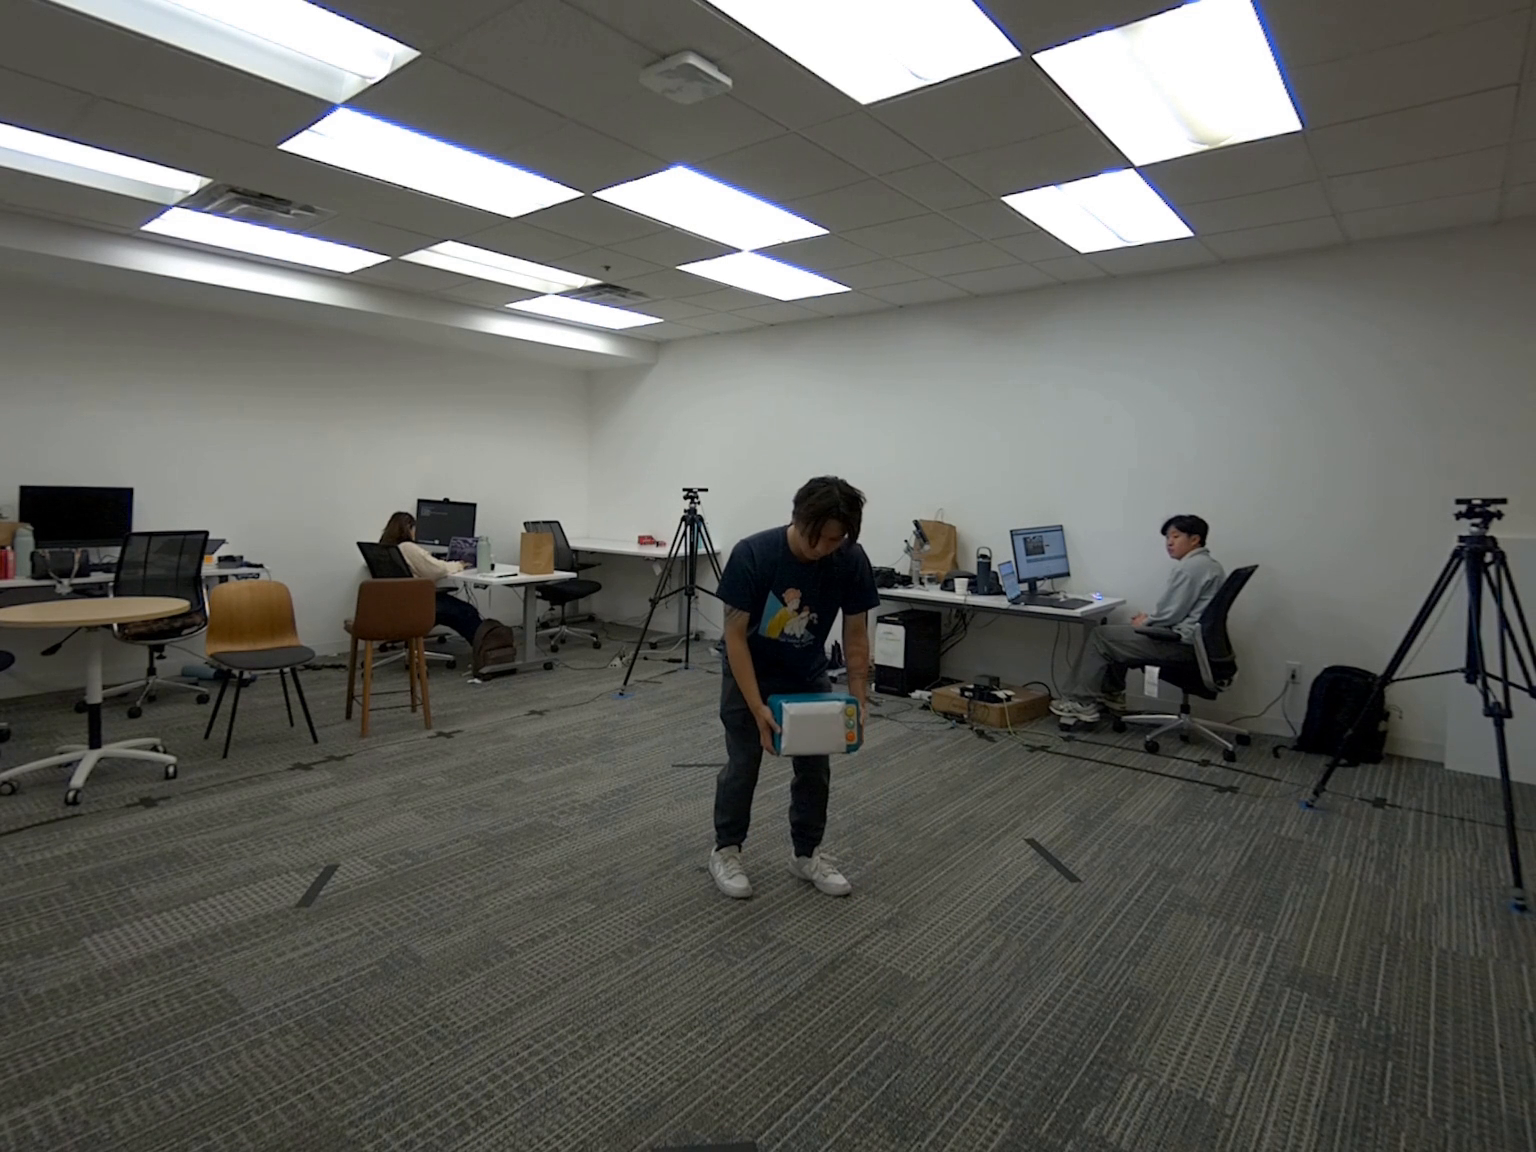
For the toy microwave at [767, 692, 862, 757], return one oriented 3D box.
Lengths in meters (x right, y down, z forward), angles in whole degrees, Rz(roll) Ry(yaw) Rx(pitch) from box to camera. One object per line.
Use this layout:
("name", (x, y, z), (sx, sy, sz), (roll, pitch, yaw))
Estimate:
("toy microwave", (0.137, 0.479, 2.759), (0.282, 0.184, 0.154), (-1, -1, -14))
